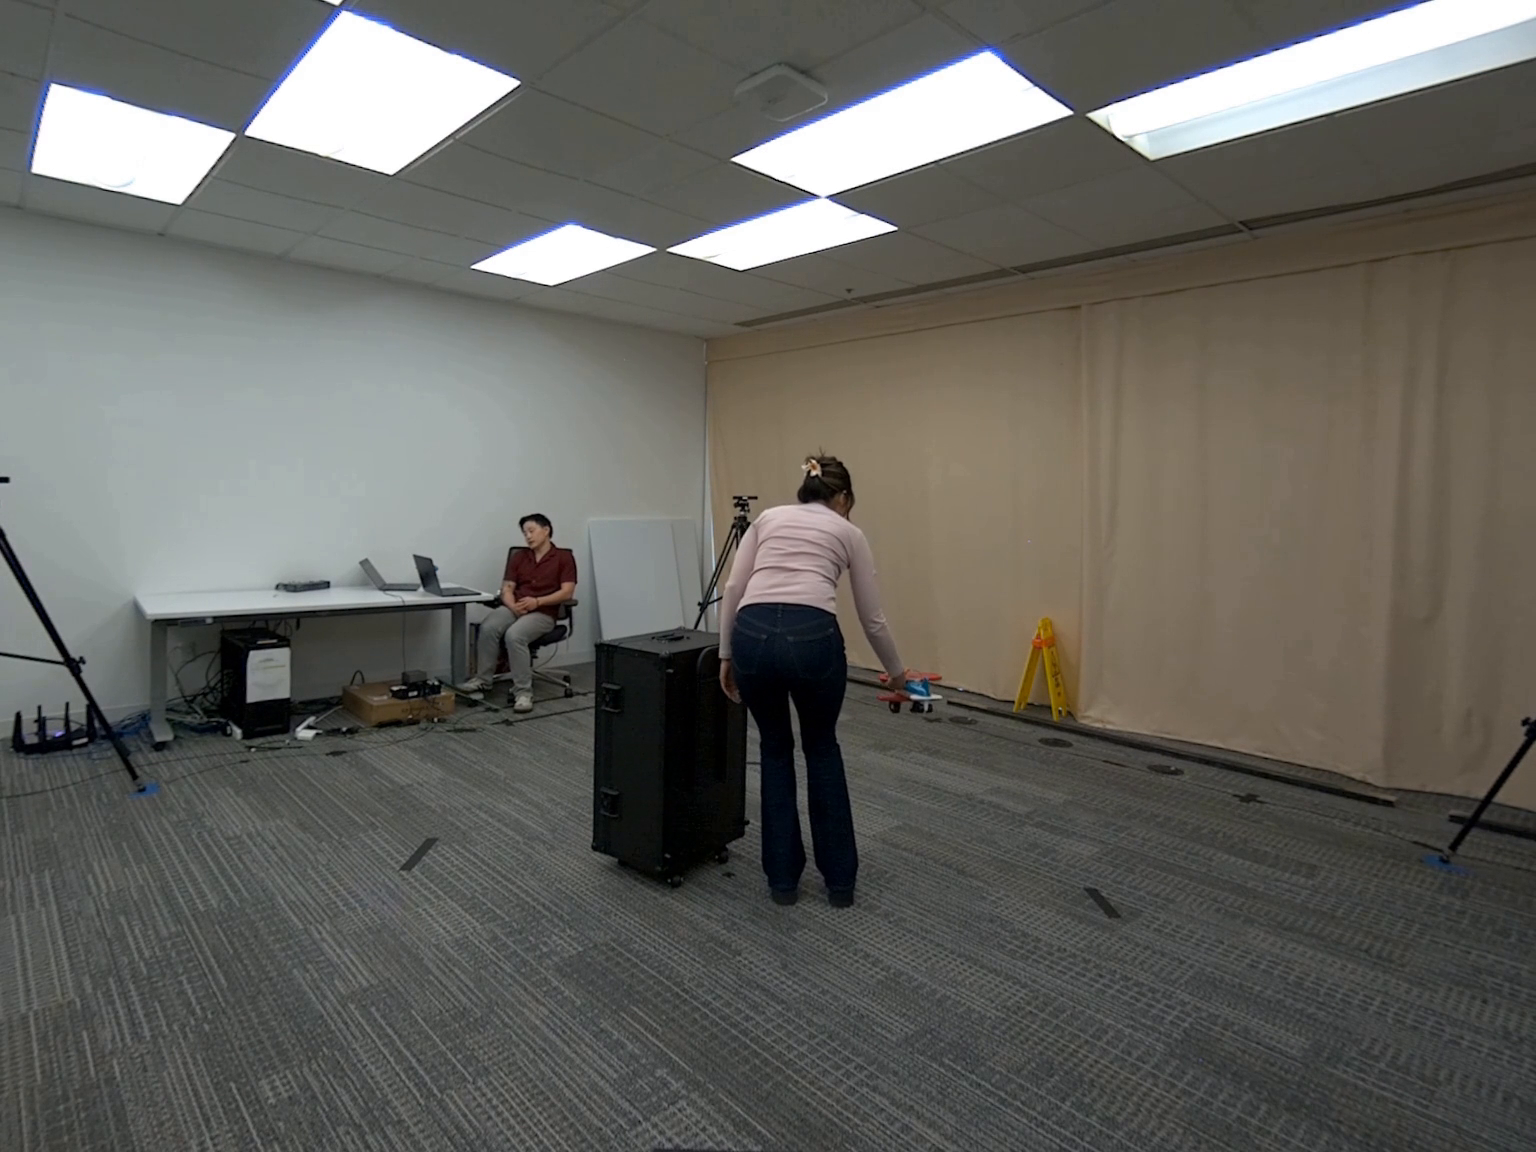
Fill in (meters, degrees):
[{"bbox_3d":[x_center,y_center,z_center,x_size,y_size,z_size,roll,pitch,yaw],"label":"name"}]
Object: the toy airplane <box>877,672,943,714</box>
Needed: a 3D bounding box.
[{"bbox_3d":[0.563,0.444,3.208,0.245,0.157,0.264,5,-11,-42],"label":"toy airplane"}]
